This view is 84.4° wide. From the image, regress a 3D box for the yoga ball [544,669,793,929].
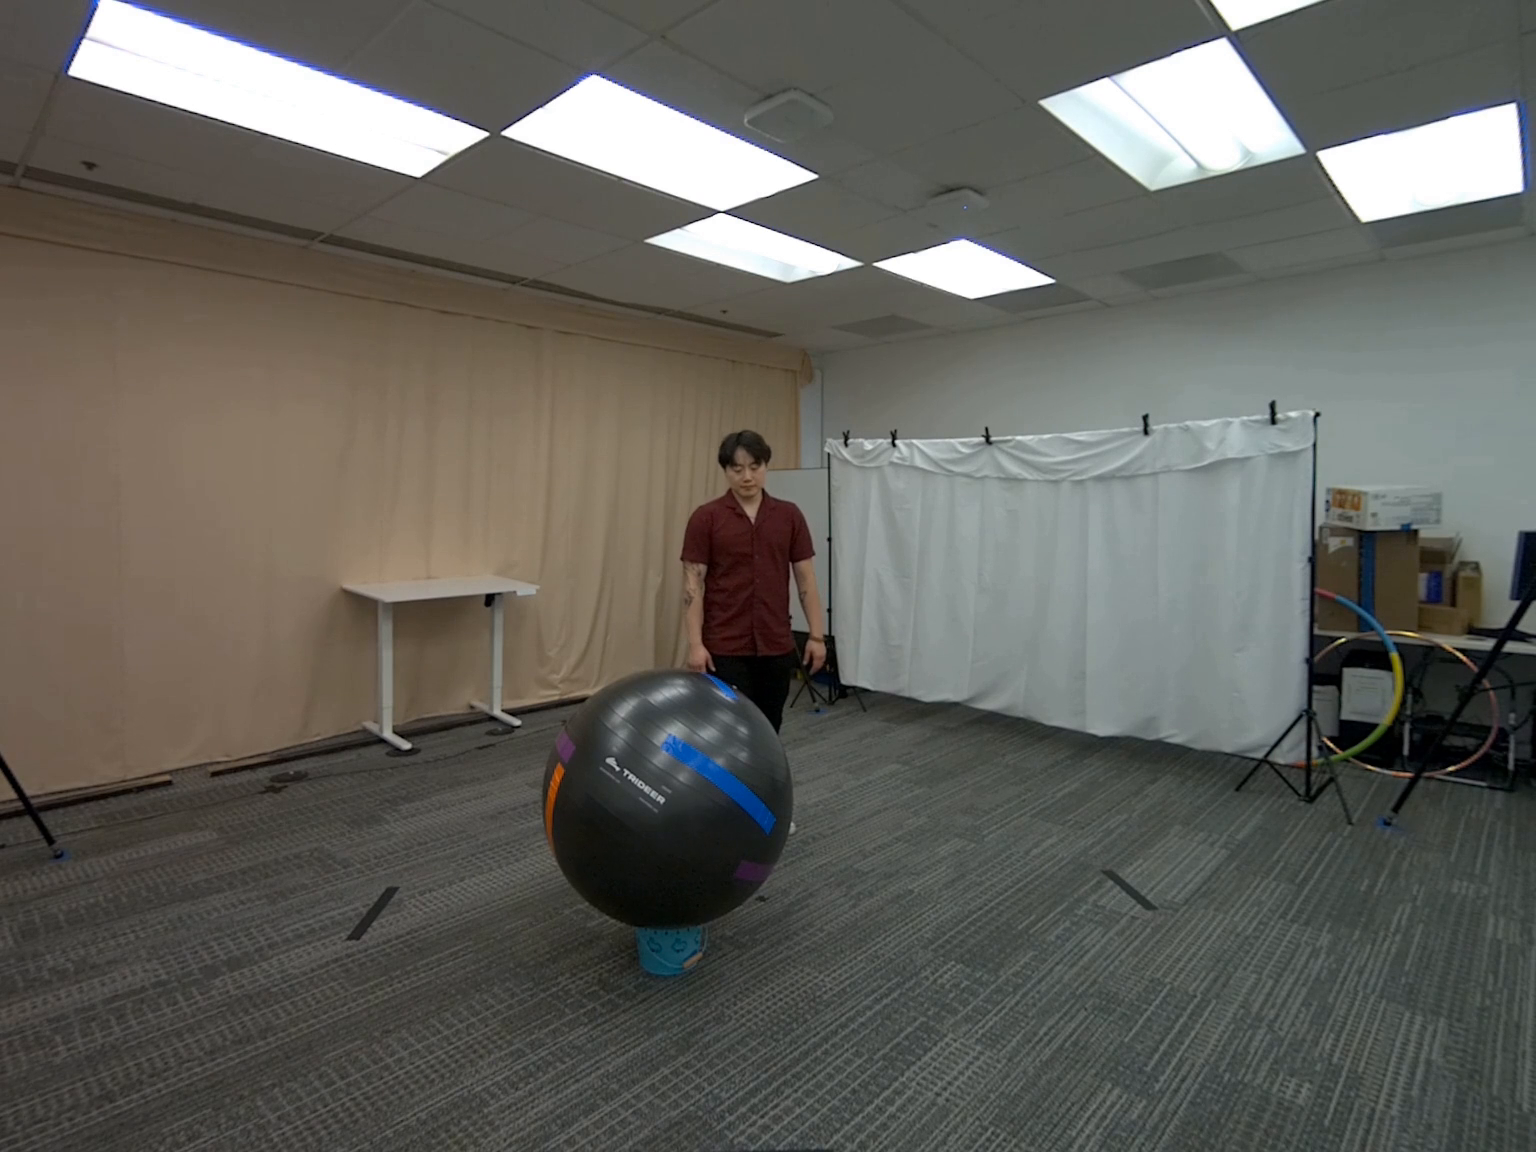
[{"bbox_3d":[-0.303,0.667,2.569,0.757,0.756,0.760,0,4,-2],"label":"yoga ball"}]
